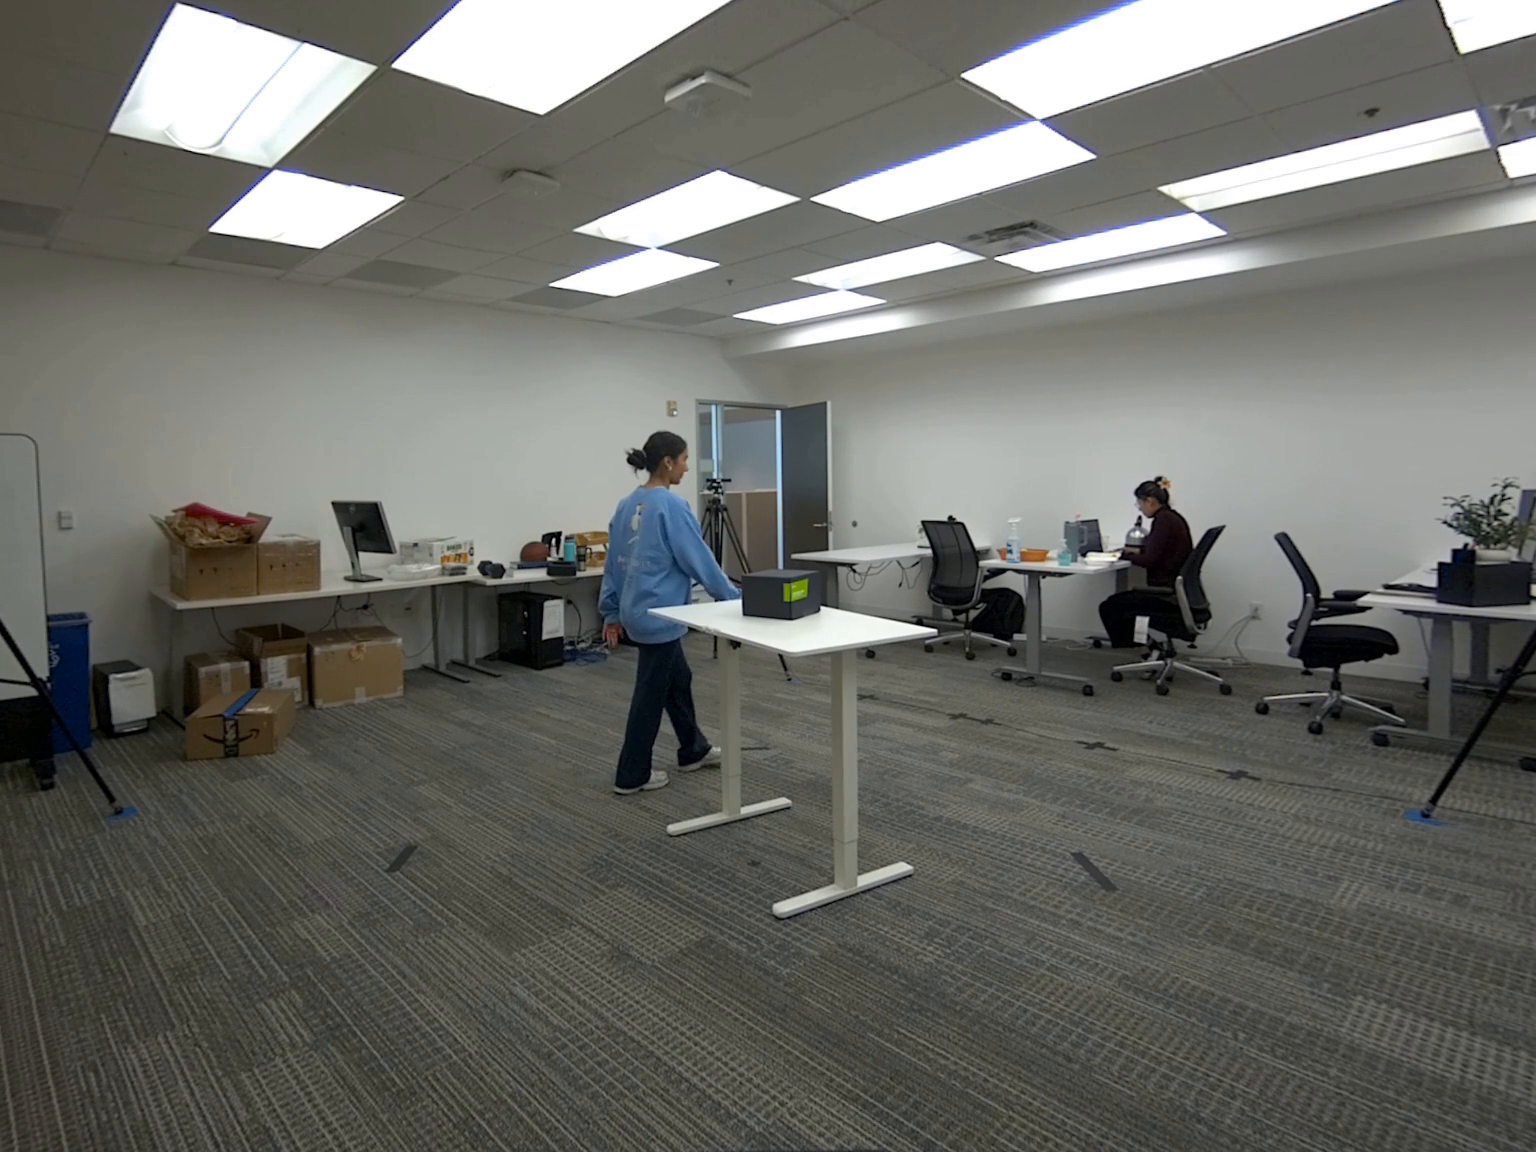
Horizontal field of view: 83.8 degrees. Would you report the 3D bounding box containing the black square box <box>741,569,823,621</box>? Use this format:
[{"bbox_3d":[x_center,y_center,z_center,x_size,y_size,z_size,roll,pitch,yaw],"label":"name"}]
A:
[{"bbox_3d":[0.054,0.064,3.232,0.223,0.155,0.222,3,7,34],"label":"black square box"}]
